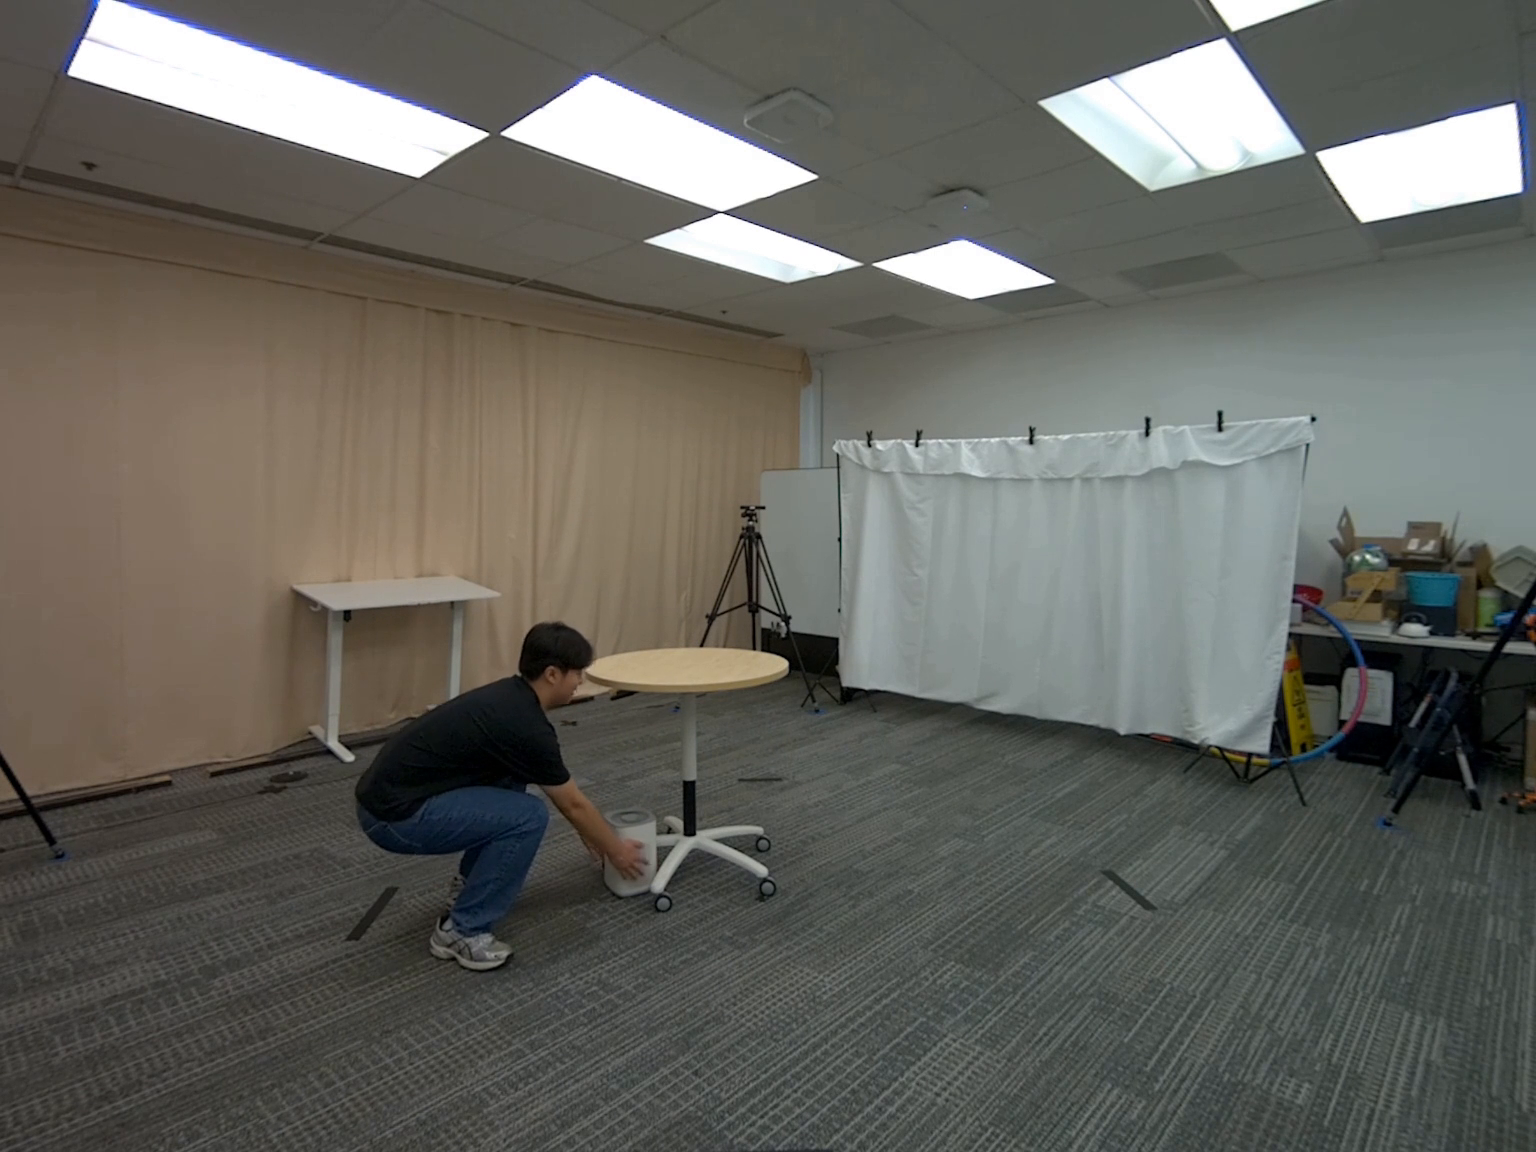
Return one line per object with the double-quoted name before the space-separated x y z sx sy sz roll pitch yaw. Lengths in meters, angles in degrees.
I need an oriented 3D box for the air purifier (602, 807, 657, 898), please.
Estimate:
"air purifier" -0.500 1.010 3.067 0.167 0.265 0.176 -2 3 -34
